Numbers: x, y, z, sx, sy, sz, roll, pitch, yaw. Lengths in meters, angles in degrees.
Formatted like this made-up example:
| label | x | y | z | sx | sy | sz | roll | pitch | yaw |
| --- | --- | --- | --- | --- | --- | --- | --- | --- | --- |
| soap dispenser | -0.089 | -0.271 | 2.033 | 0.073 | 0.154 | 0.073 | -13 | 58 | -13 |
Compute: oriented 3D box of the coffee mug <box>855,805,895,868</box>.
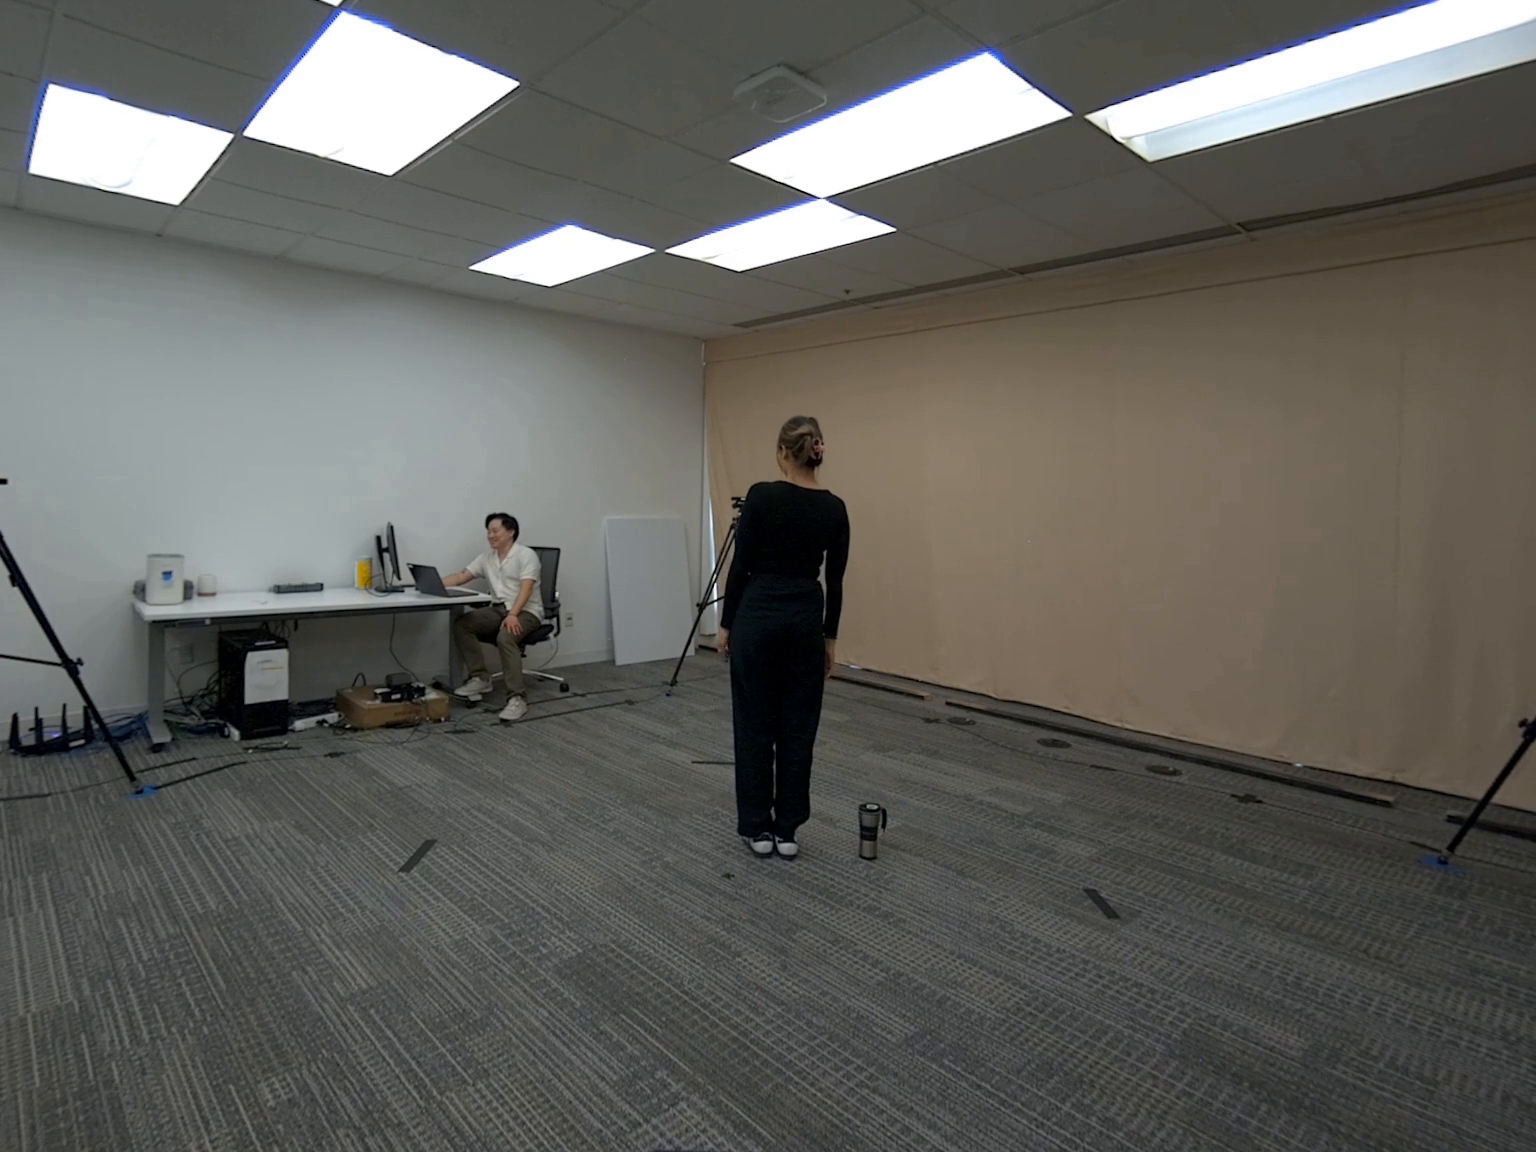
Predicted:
| label | x | y | z | sx | sy | sz | roll | pitch | yaw |
| --- | --- | --- | --- | --- | --- | --- | --- | --- | --- |
| coffee mug | 0.412 | 1.012 | 3.295 | 0.121 | 0.203 | 0.088 | -3 | 1 | -7 |
